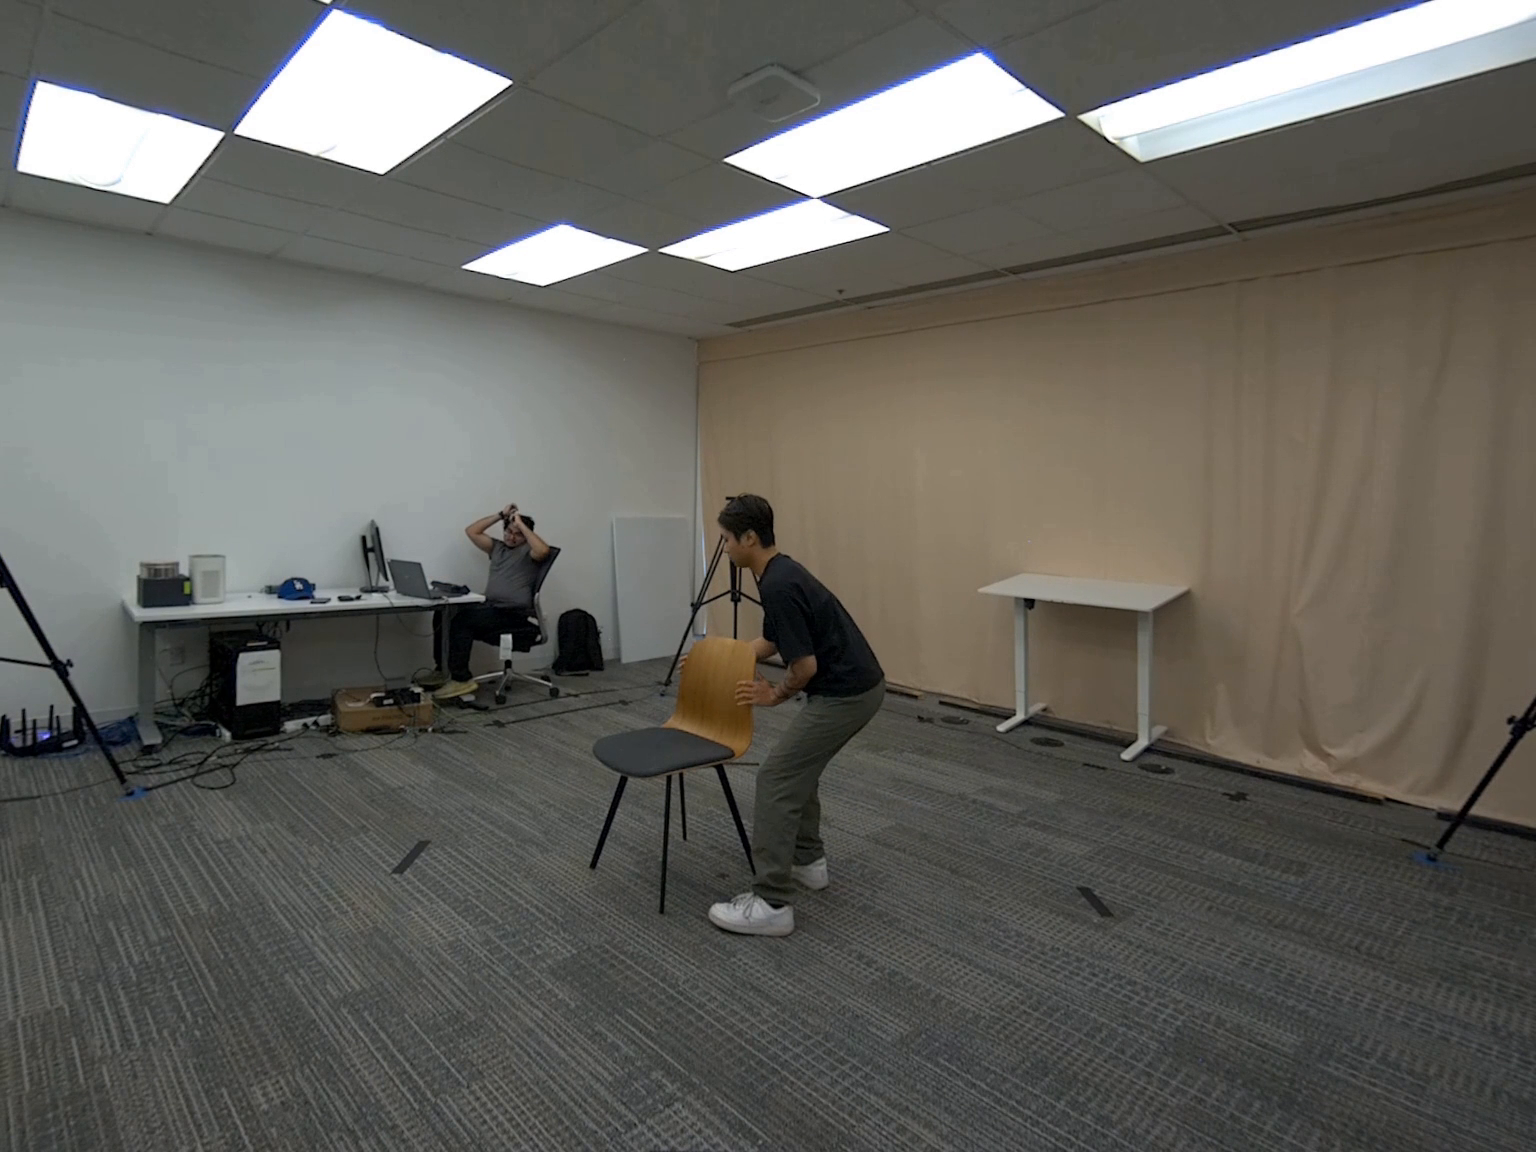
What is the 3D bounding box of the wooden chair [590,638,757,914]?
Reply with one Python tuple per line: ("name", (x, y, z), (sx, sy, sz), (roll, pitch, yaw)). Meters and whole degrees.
("wooden chair", (-0.348, 0.673, 3.087), (0.510, 0.877, 0.490), (4, 0, -43))
